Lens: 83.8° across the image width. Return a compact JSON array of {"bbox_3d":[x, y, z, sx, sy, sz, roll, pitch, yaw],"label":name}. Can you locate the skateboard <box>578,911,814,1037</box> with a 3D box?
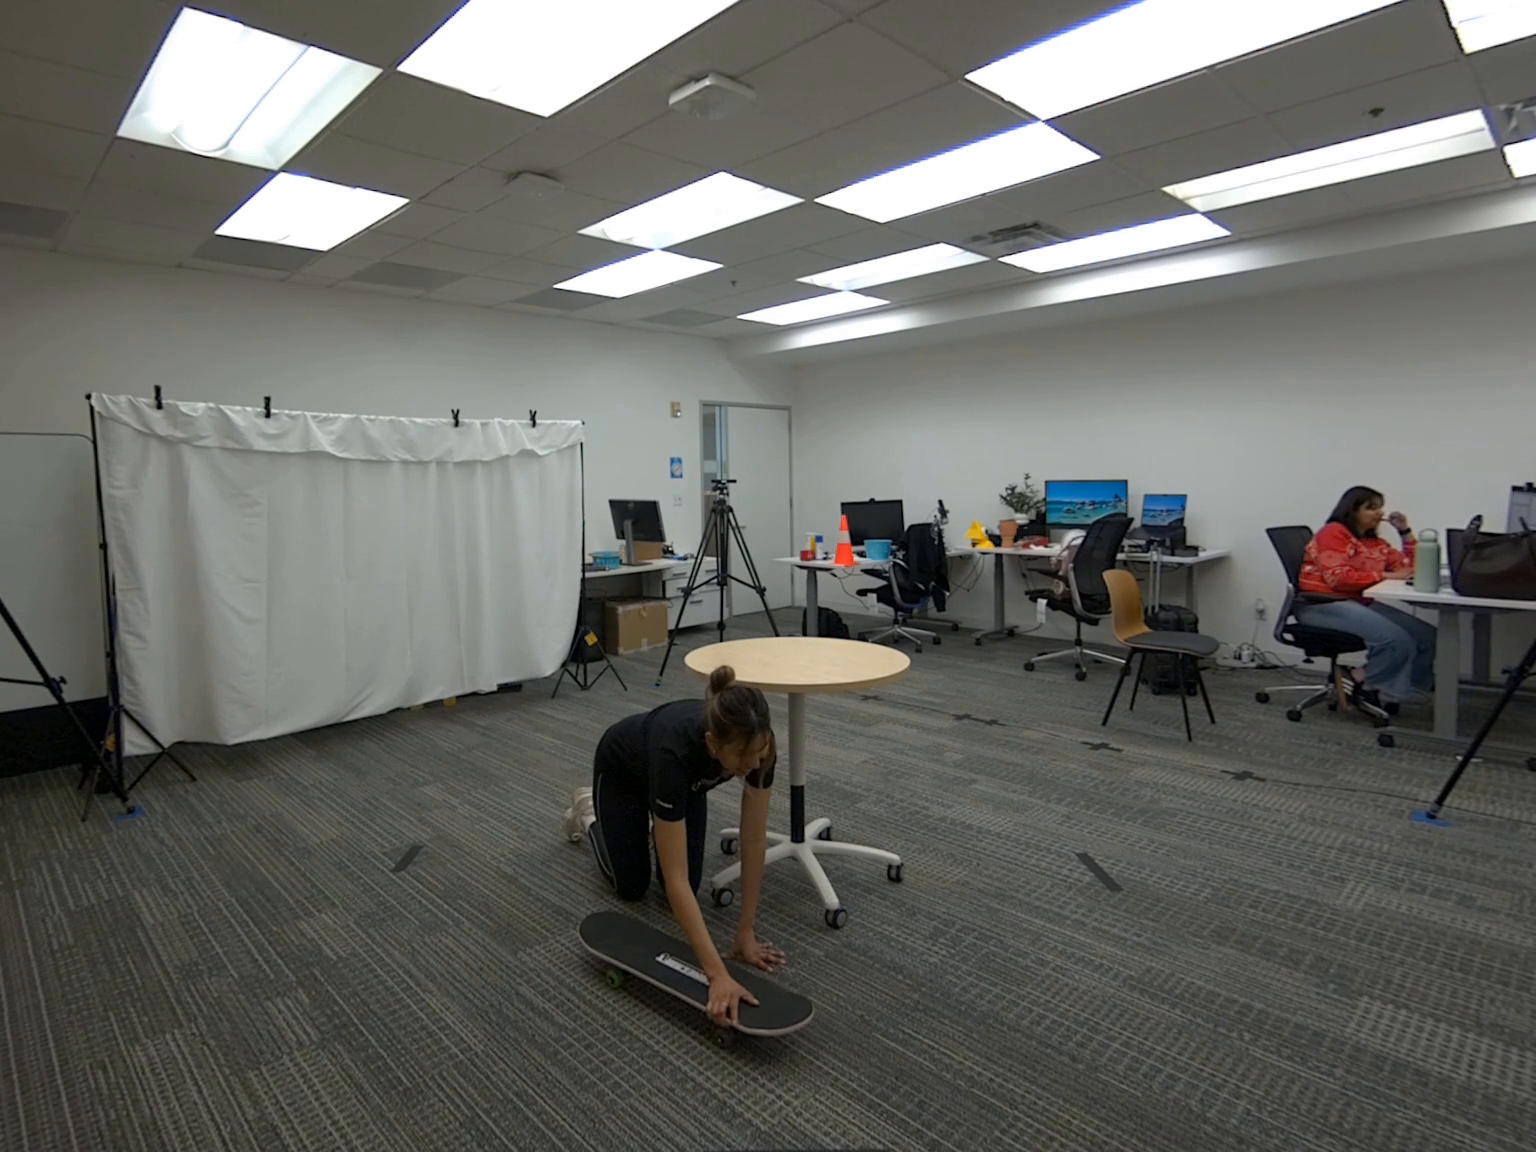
[{"bbox_3d":[-0.214,1.093,2.295,0.809,0.110,0.189,4,8,40],"label":"skateboard"}]
